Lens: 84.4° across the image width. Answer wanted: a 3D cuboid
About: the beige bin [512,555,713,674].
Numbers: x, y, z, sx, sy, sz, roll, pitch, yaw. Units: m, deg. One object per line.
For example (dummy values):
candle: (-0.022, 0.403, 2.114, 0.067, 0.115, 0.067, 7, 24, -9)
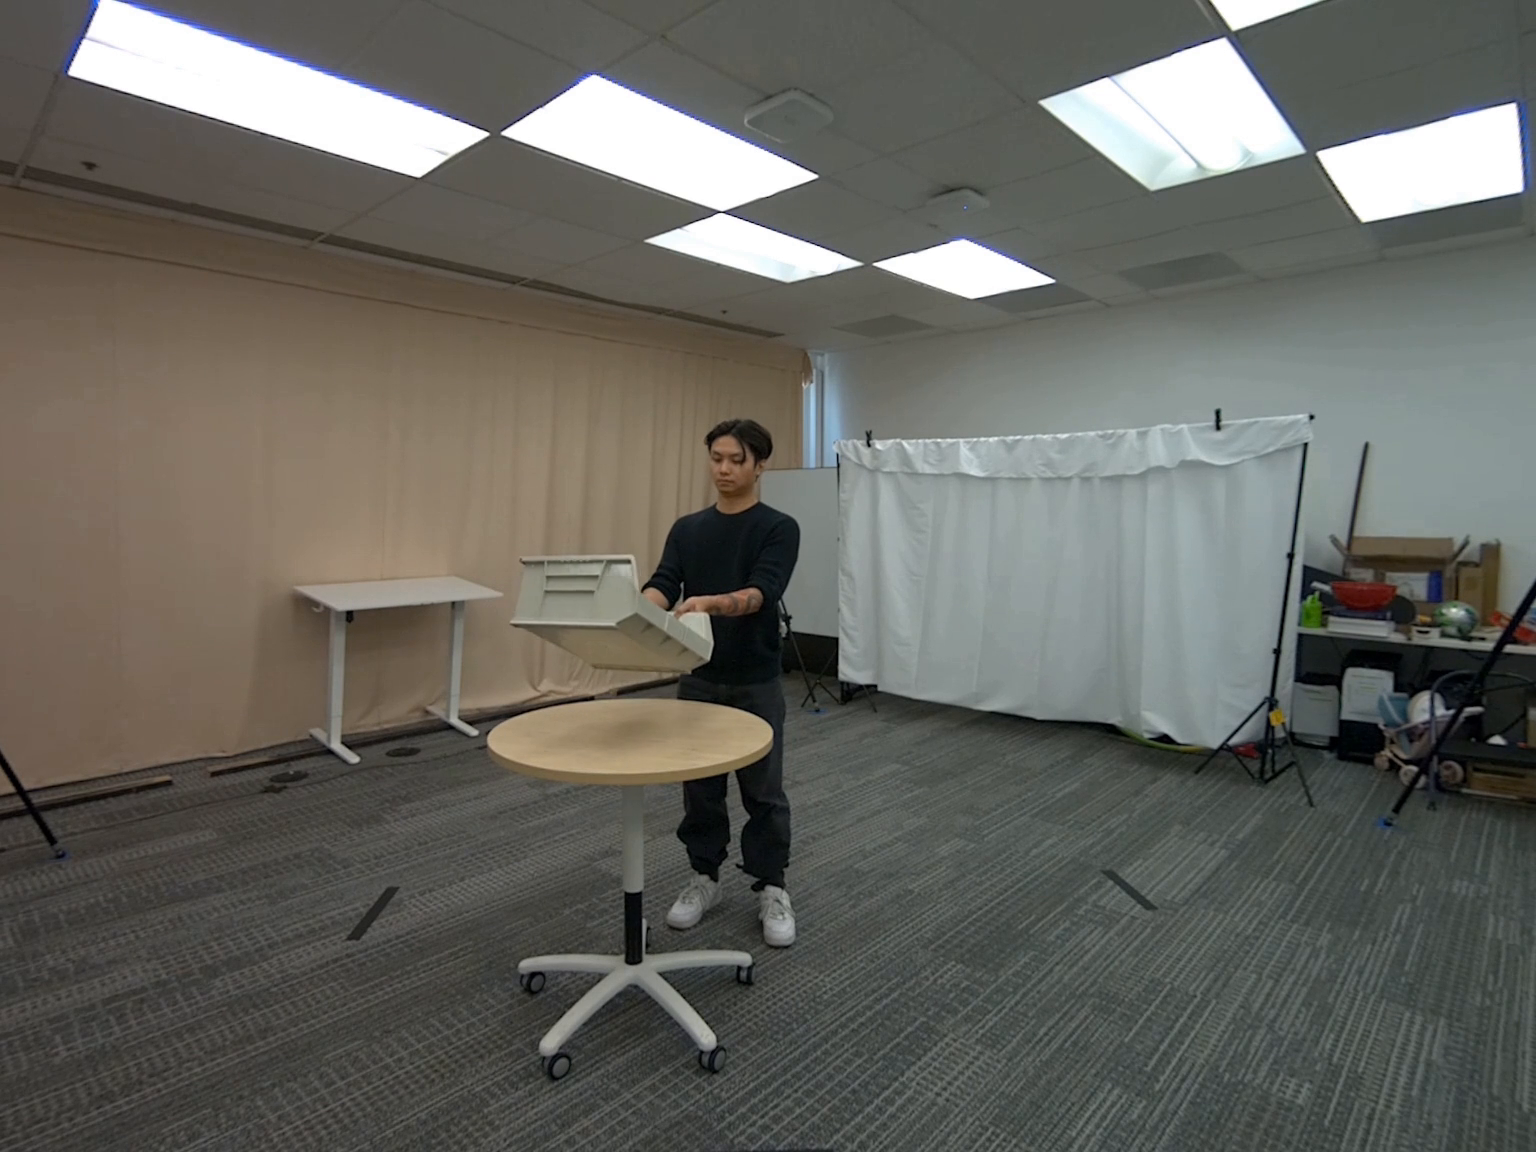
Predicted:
beige bin: (-0.404, 0.115, 2.212, 0.386, 0.190, 0.408, -1, -22, 24)
